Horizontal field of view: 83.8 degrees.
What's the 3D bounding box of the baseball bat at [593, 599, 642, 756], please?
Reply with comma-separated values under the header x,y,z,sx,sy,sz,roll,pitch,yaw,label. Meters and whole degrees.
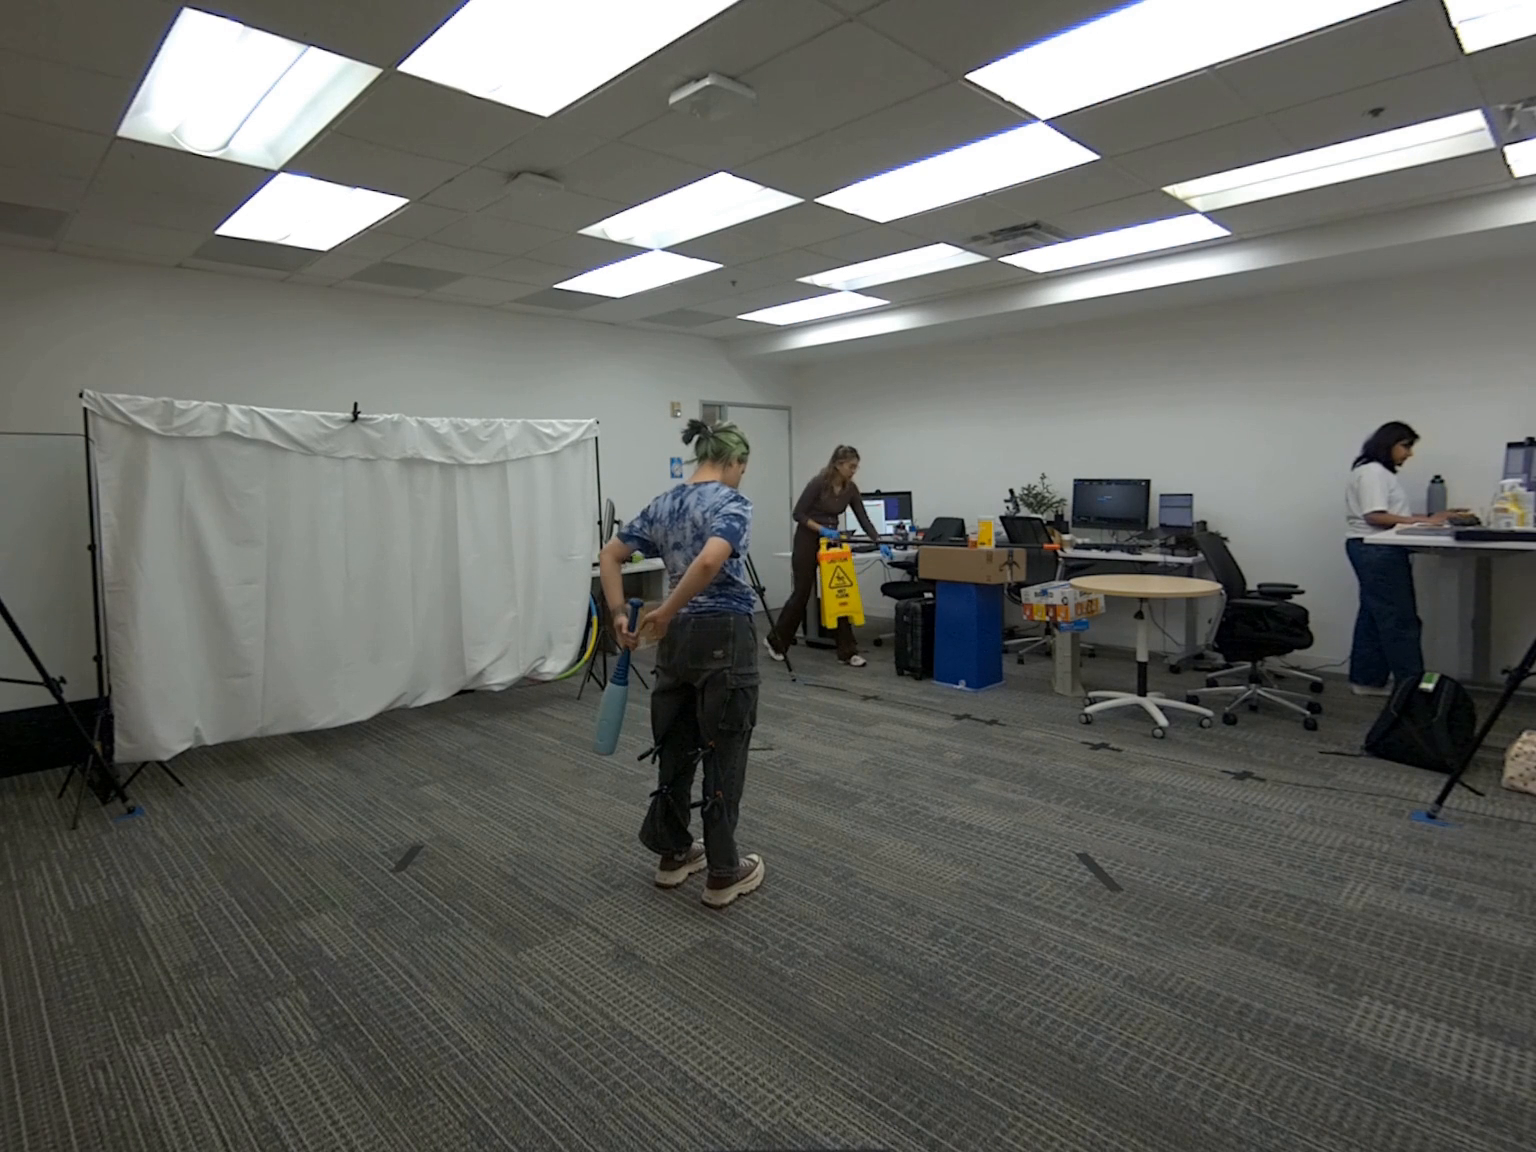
x,y,z,sx,sy,sz,roll,pitch,yaw,label
-0.500,0.340,2.883,0.089,0.541,0.090,13,6,-3,baseball bat
